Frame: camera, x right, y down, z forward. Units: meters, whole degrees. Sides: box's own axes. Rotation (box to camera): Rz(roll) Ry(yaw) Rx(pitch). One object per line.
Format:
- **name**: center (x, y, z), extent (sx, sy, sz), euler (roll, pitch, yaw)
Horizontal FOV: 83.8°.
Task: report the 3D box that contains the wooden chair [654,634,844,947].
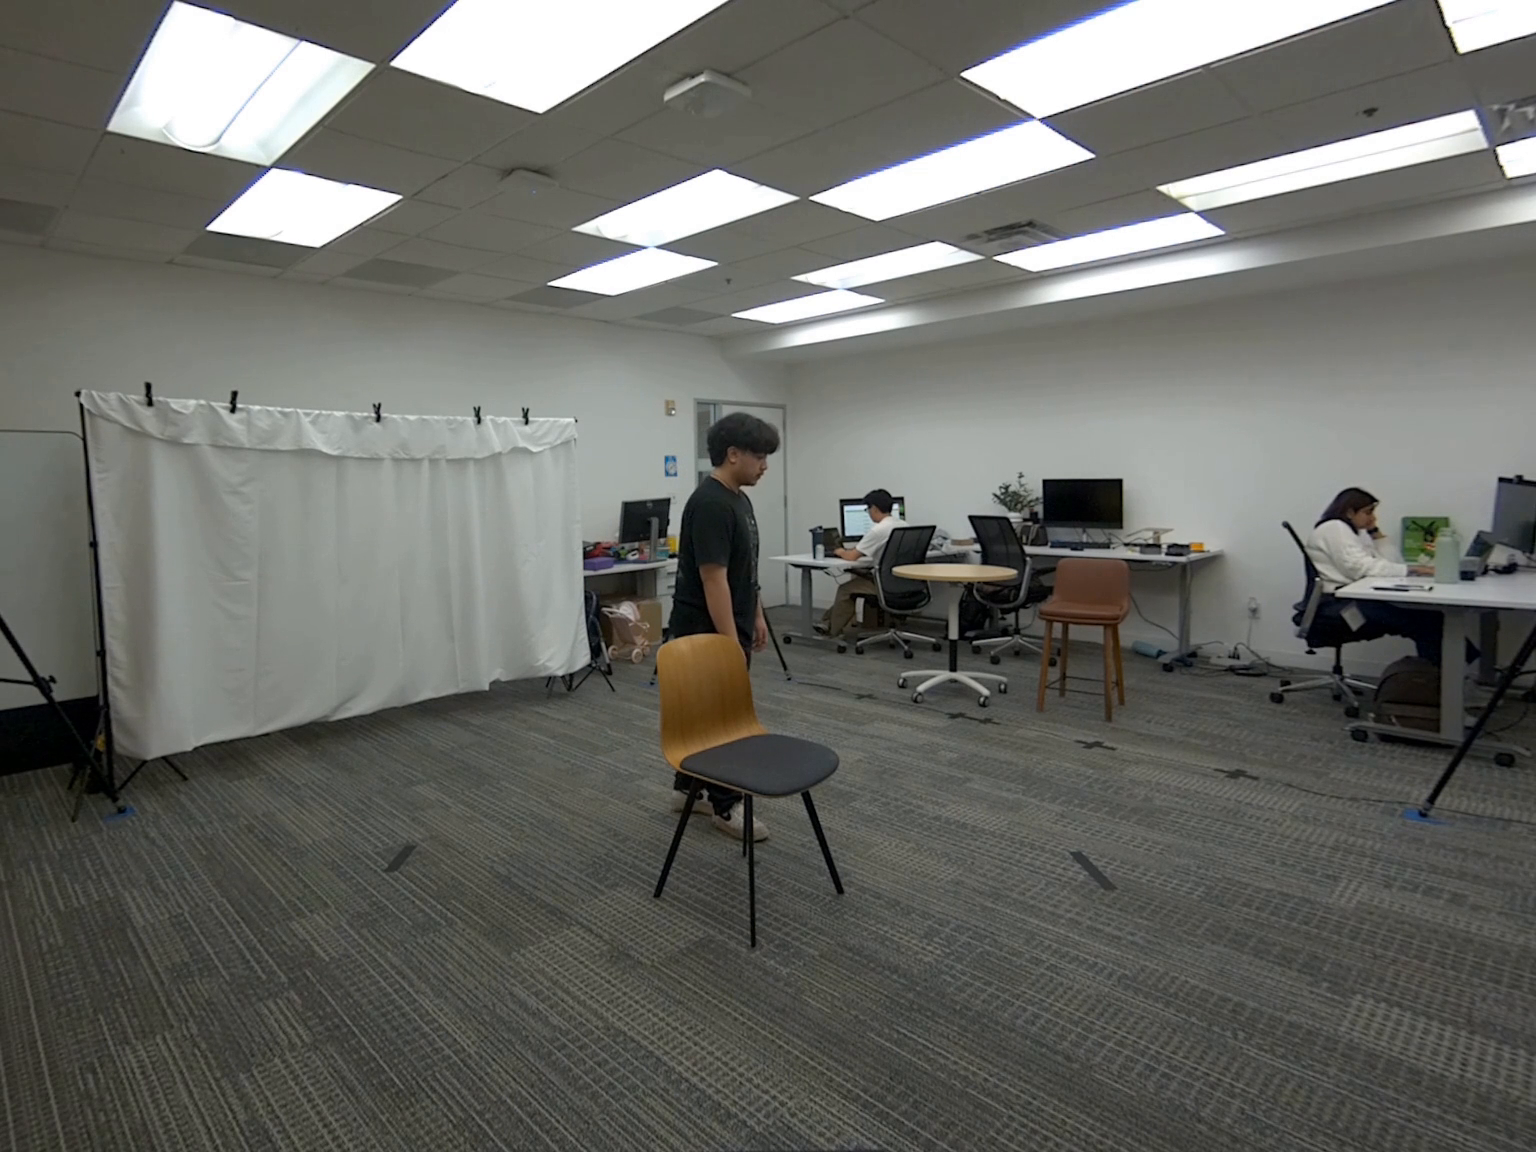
- **wooden chair**: center (-0.068, 0.652, 2.821), extent (0.537, 0.877, 0.465), euler (-3, 2, 43)
